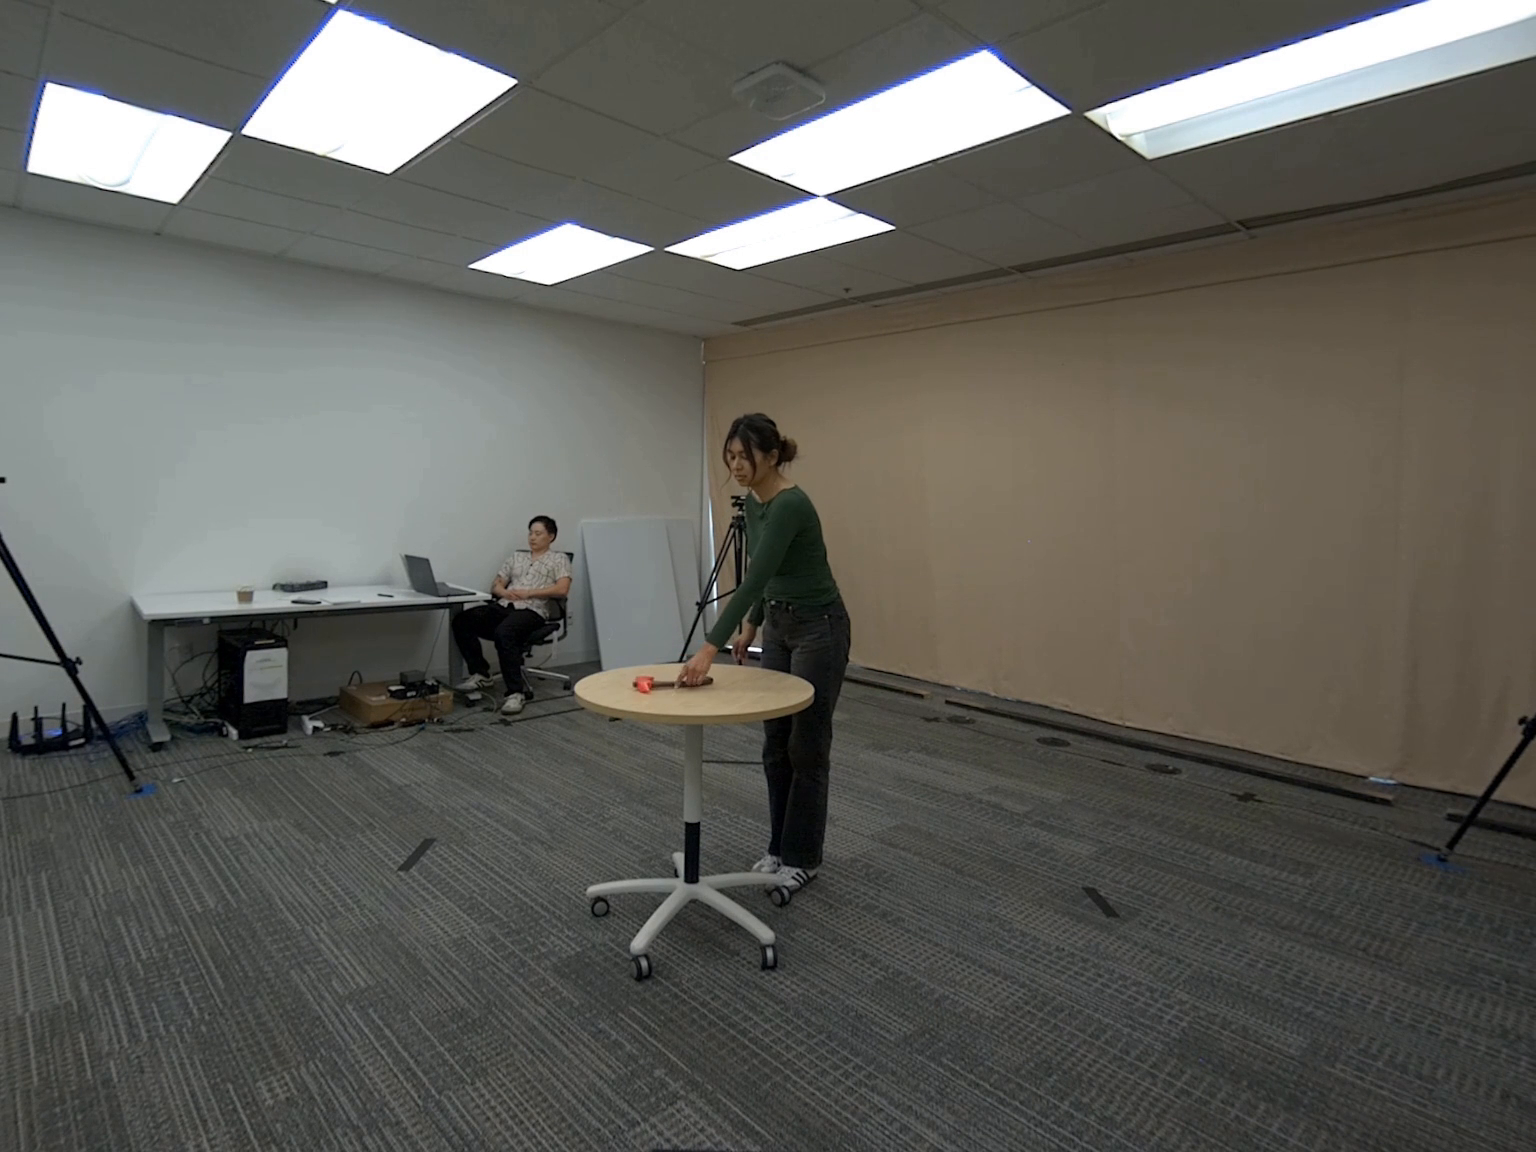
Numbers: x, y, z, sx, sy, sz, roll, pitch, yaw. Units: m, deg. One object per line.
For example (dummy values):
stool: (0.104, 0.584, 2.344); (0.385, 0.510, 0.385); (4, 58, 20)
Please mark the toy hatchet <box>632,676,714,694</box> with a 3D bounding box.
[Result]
toy hatchet: (-0.321, 0.339, 2.692); (0.264, 0.029, 0.134); (-1, 8, -41)
